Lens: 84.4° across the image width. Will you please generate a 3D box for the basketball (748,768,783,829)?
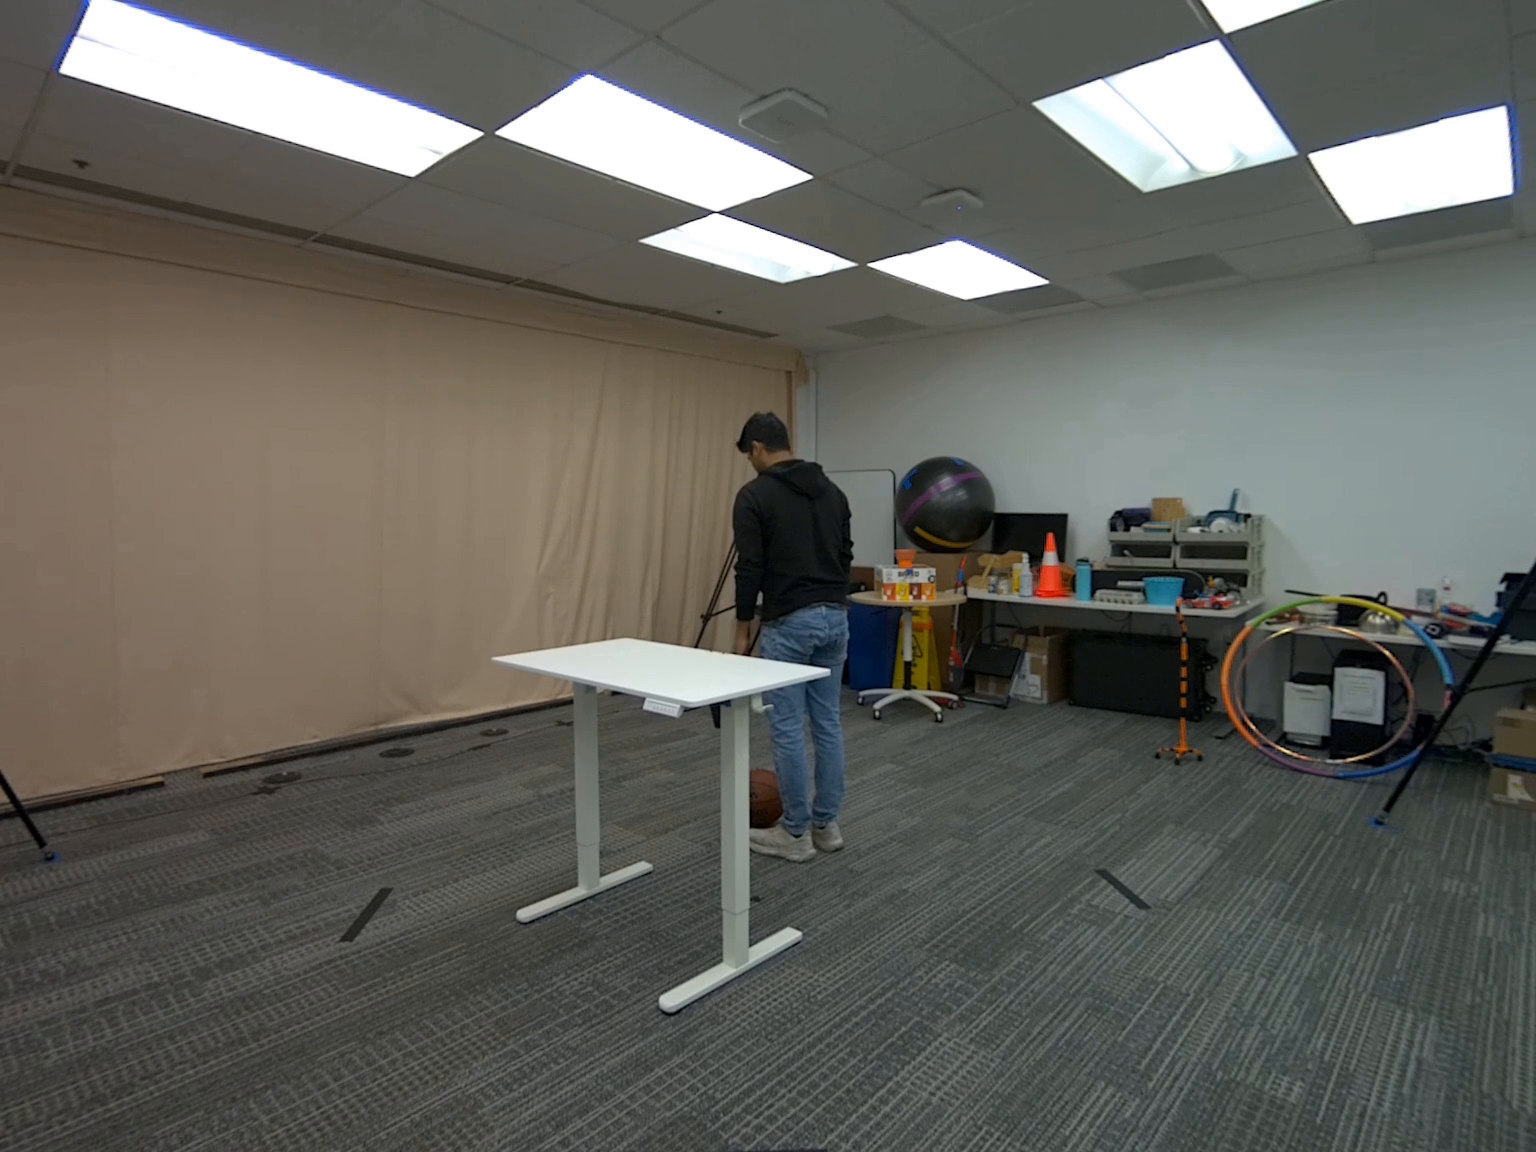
[{"bbox_3d":[-0.032,0.966,3.686,0.236,0.235,0.237,0,4,-2],"label":"basketball"}]
